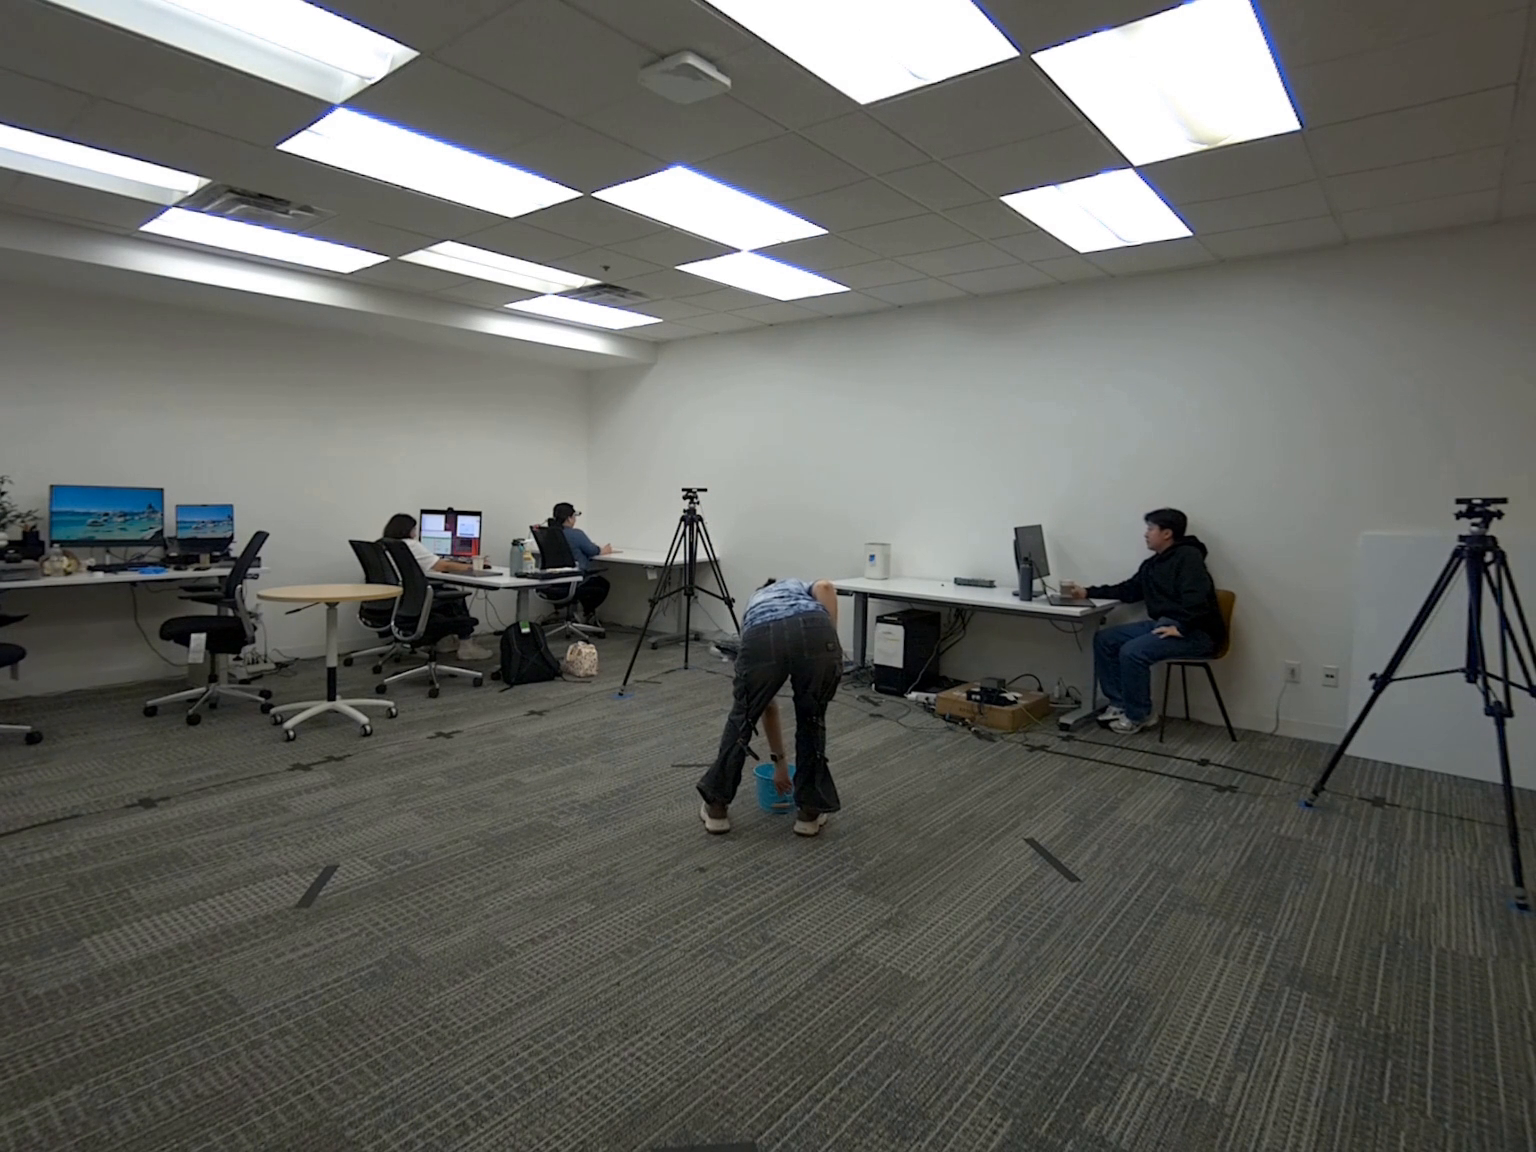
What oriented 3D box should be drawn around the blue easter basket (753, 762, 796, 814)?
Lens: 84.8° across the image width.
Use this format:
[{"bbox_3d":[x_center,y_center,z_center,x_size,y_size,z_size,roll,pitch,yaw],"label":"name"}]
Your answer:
[{"bbox_3d":[0.034,0.932,3.766,0.243,0.155,0.245,0,4,-2],"label":"blue easter basket"}]
